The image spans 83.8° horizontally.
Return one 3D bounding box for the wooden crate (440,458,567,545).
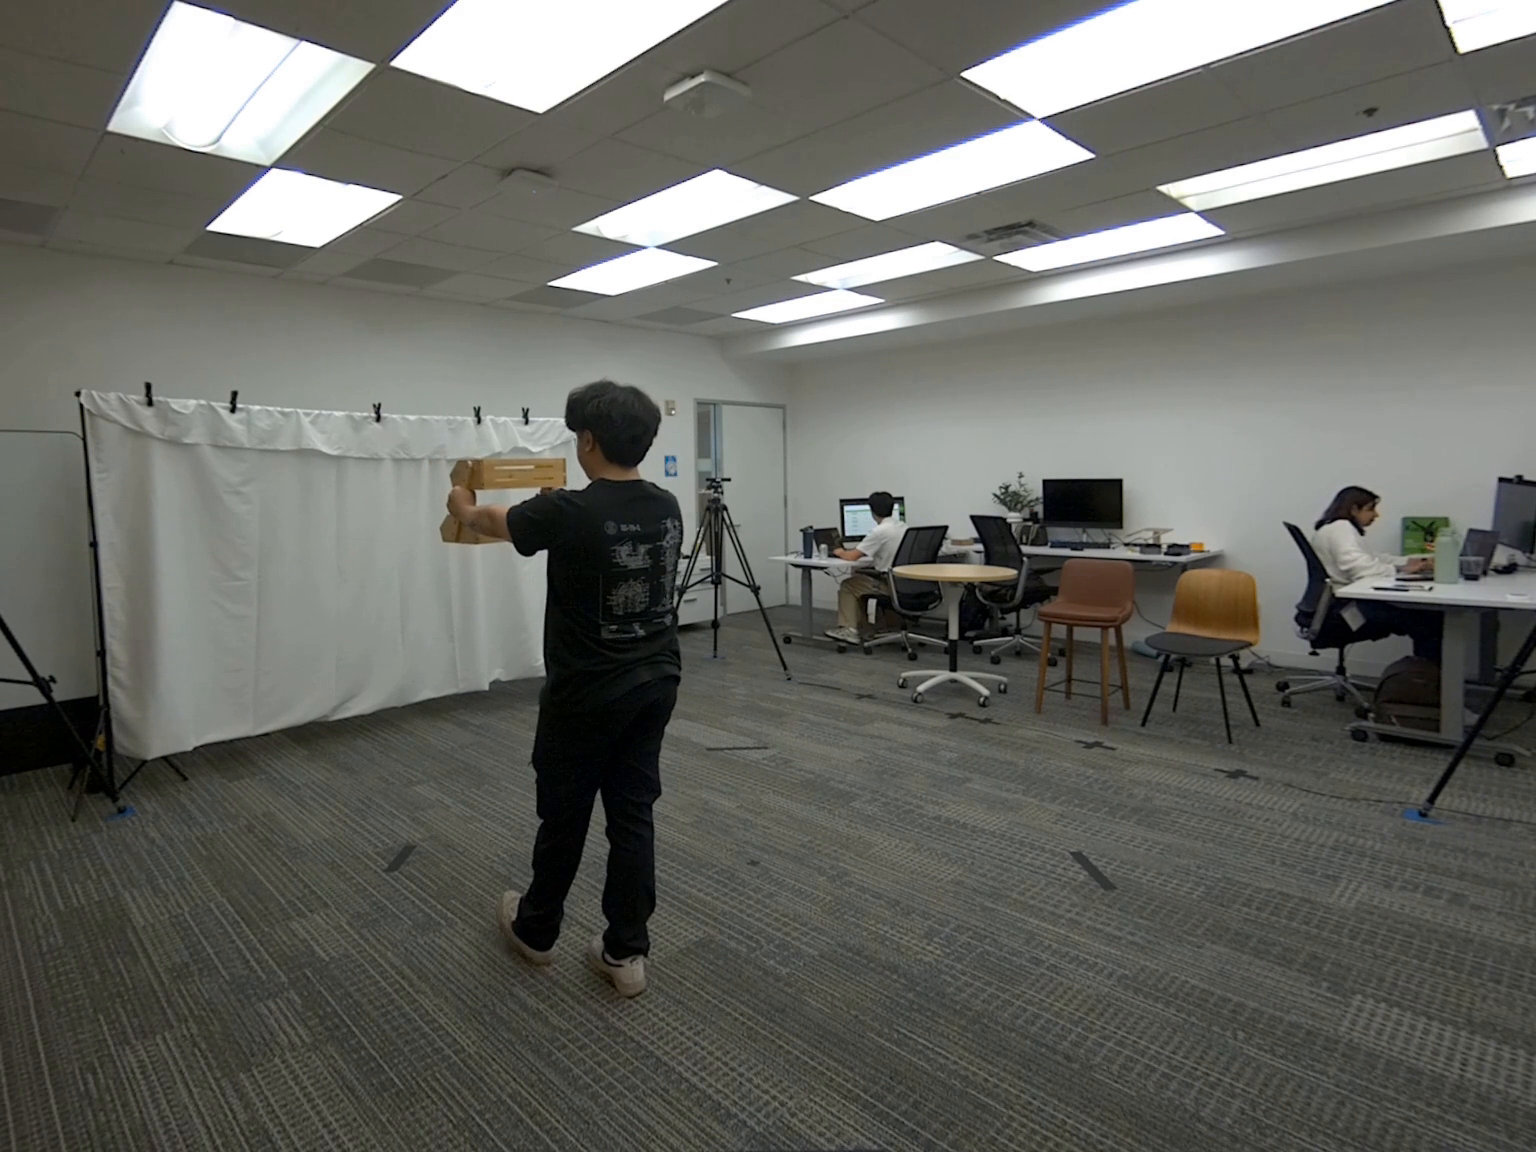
[{"bbox_3d":[-0.869,-0.251,2.776,0.311,0.272,0.316,4,8,43],"label":"wooden crate"}]
